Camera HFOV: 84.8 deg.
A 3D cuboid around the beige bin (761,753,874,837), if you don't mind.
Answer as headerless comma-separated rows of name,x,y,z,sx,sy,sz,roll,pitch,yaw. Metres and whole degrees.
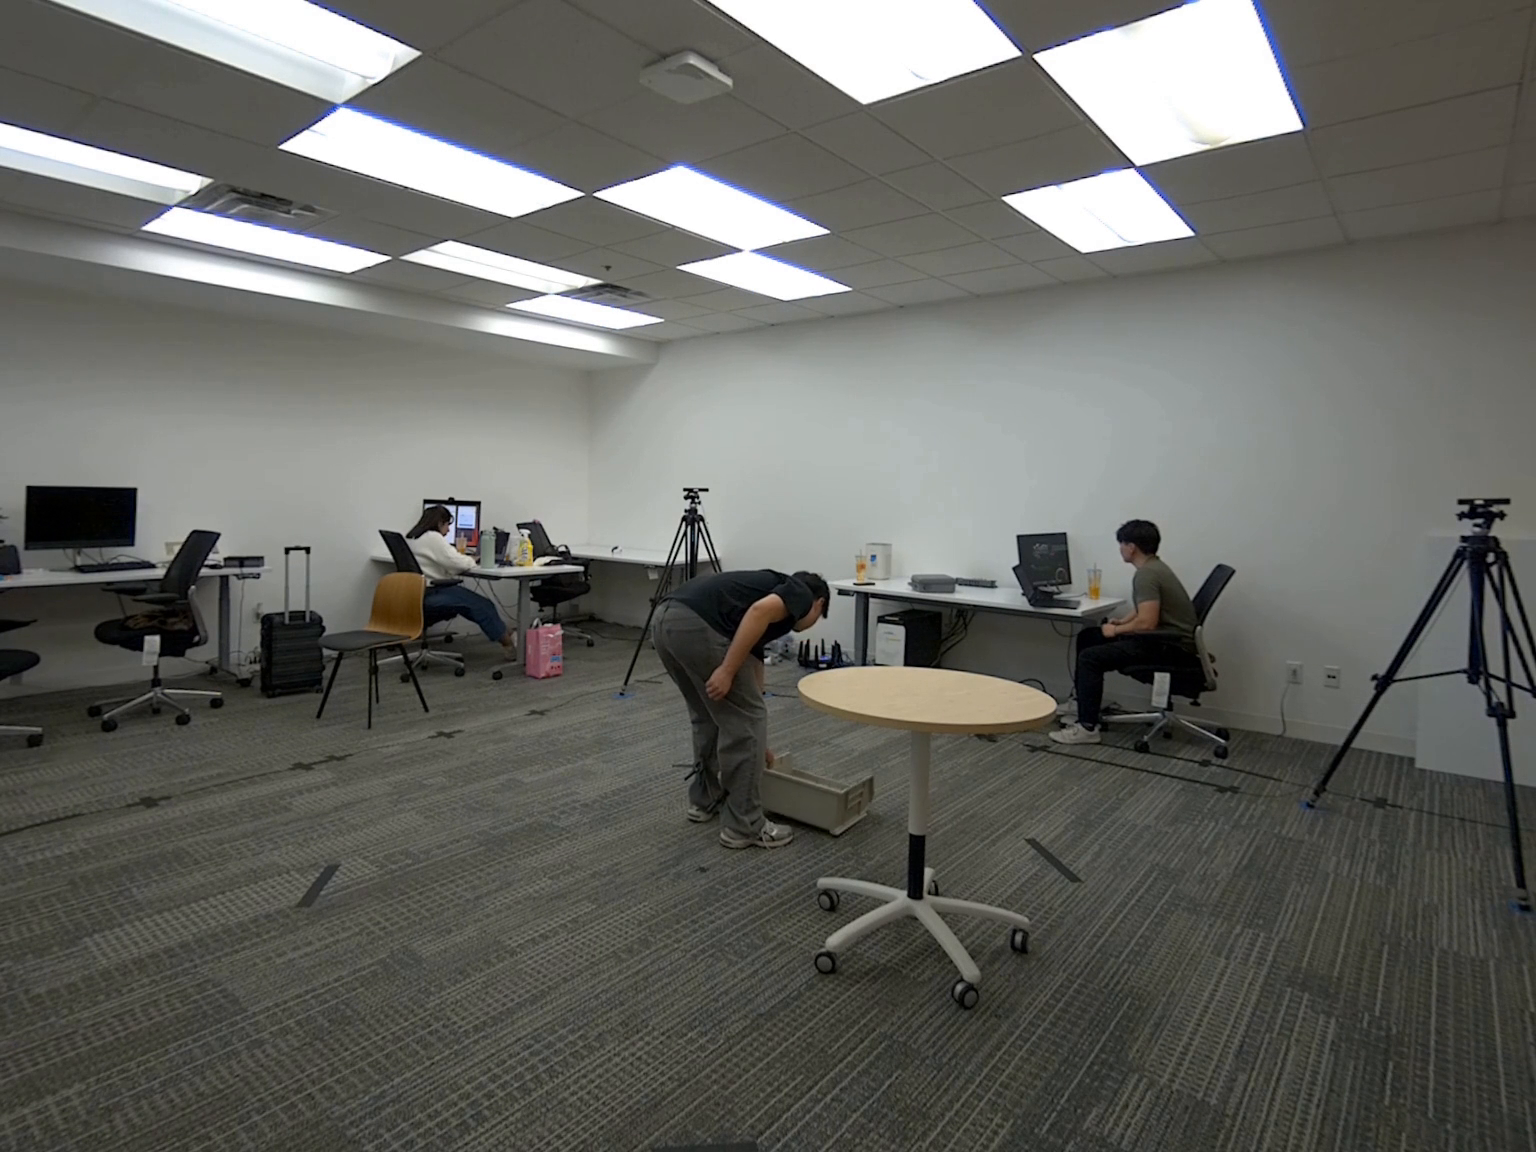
beige bin,0.183,0.902,3.665,0.436,0.188,0.367,9,7,30
